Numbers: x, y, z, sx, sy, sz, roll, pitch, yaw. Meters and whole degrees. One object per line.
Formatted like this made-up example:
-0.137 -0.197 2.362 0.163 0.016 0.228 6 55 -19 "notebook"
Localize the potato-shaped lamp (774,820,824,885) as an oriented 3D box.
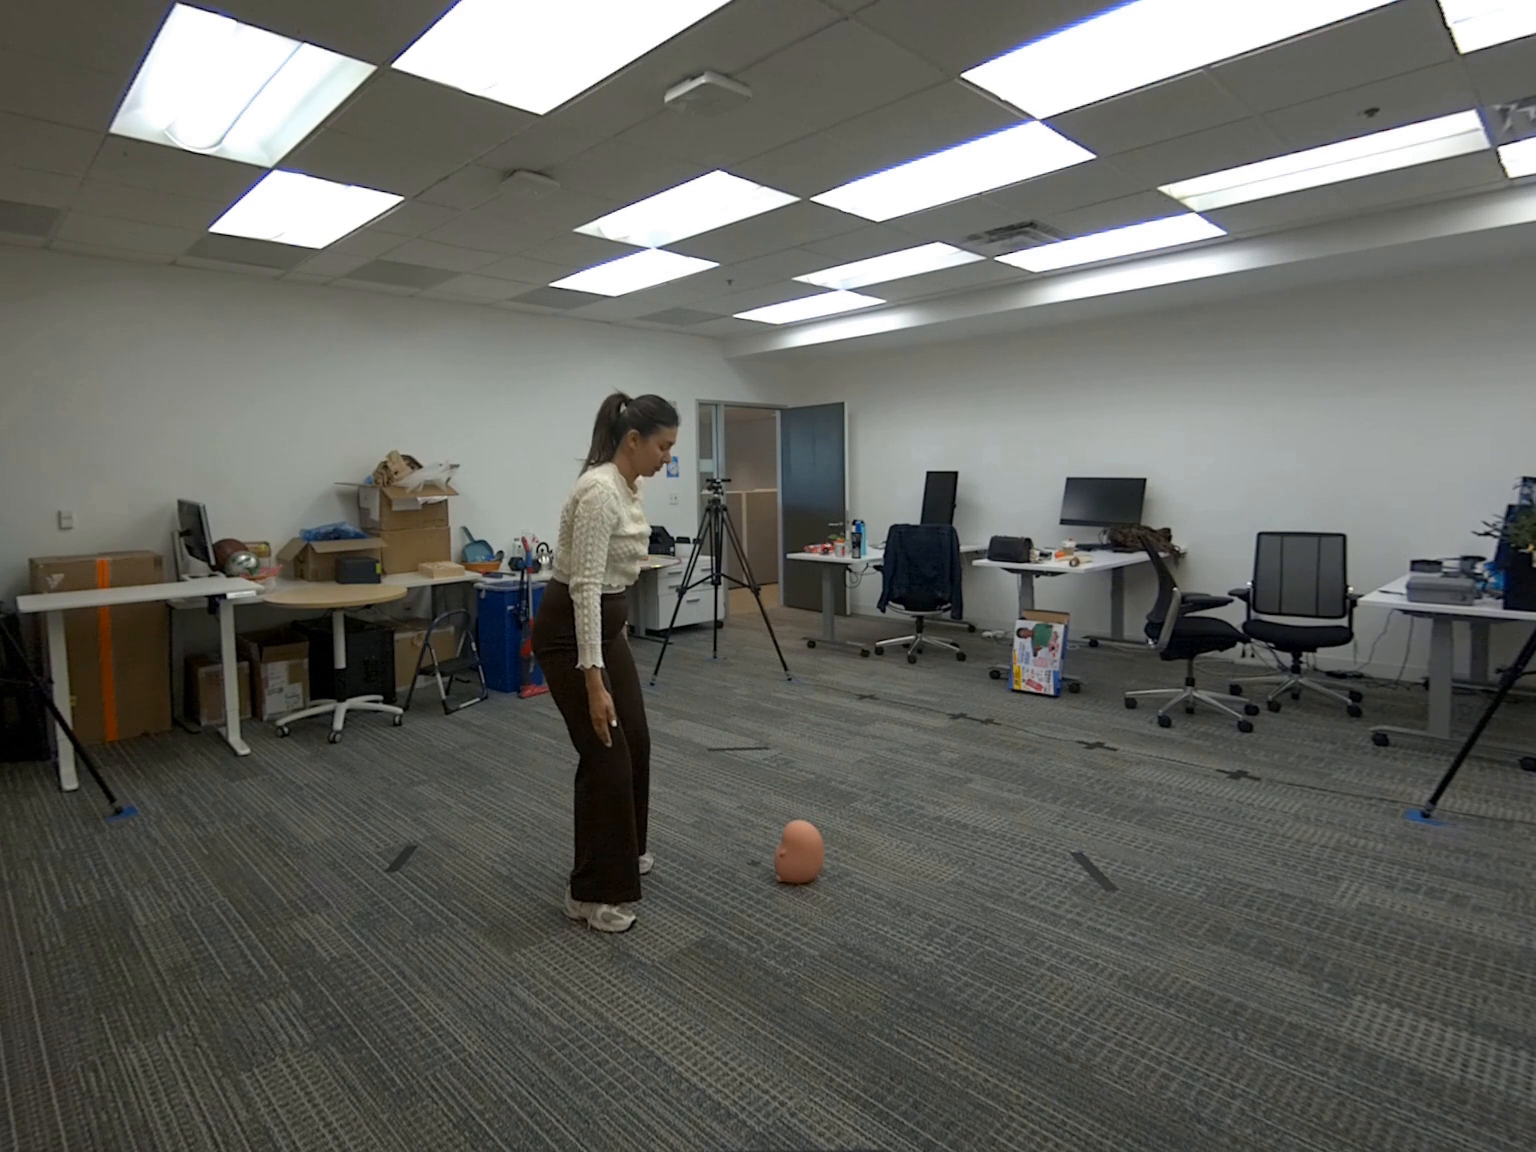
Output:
0.108 0.956 2.983 0.173 0.197 0.163 0 3 9 "potato-shaped lamp"
